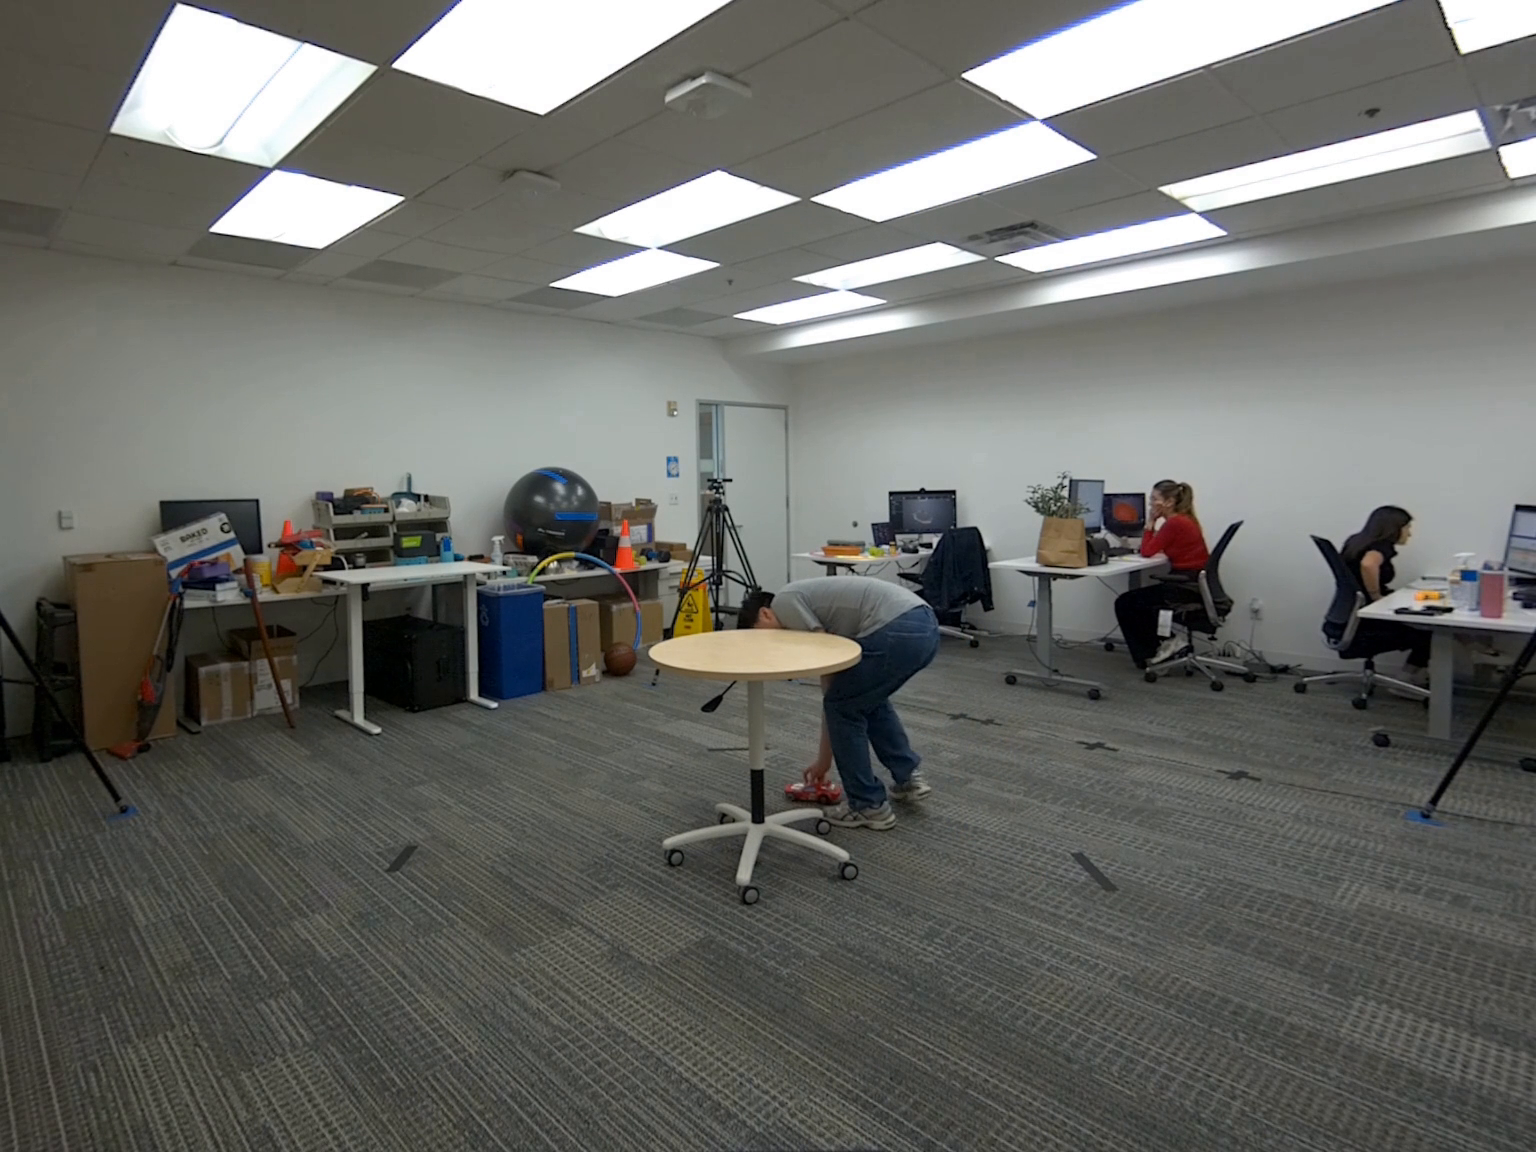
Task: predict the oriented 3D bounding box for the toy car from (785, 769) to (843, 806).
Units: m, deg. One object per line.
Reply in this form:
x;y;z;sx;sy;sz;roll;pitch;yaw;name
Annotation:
0.214;0.945;3.719;0.258;0.083;0.128;-10;1;19;toy car
